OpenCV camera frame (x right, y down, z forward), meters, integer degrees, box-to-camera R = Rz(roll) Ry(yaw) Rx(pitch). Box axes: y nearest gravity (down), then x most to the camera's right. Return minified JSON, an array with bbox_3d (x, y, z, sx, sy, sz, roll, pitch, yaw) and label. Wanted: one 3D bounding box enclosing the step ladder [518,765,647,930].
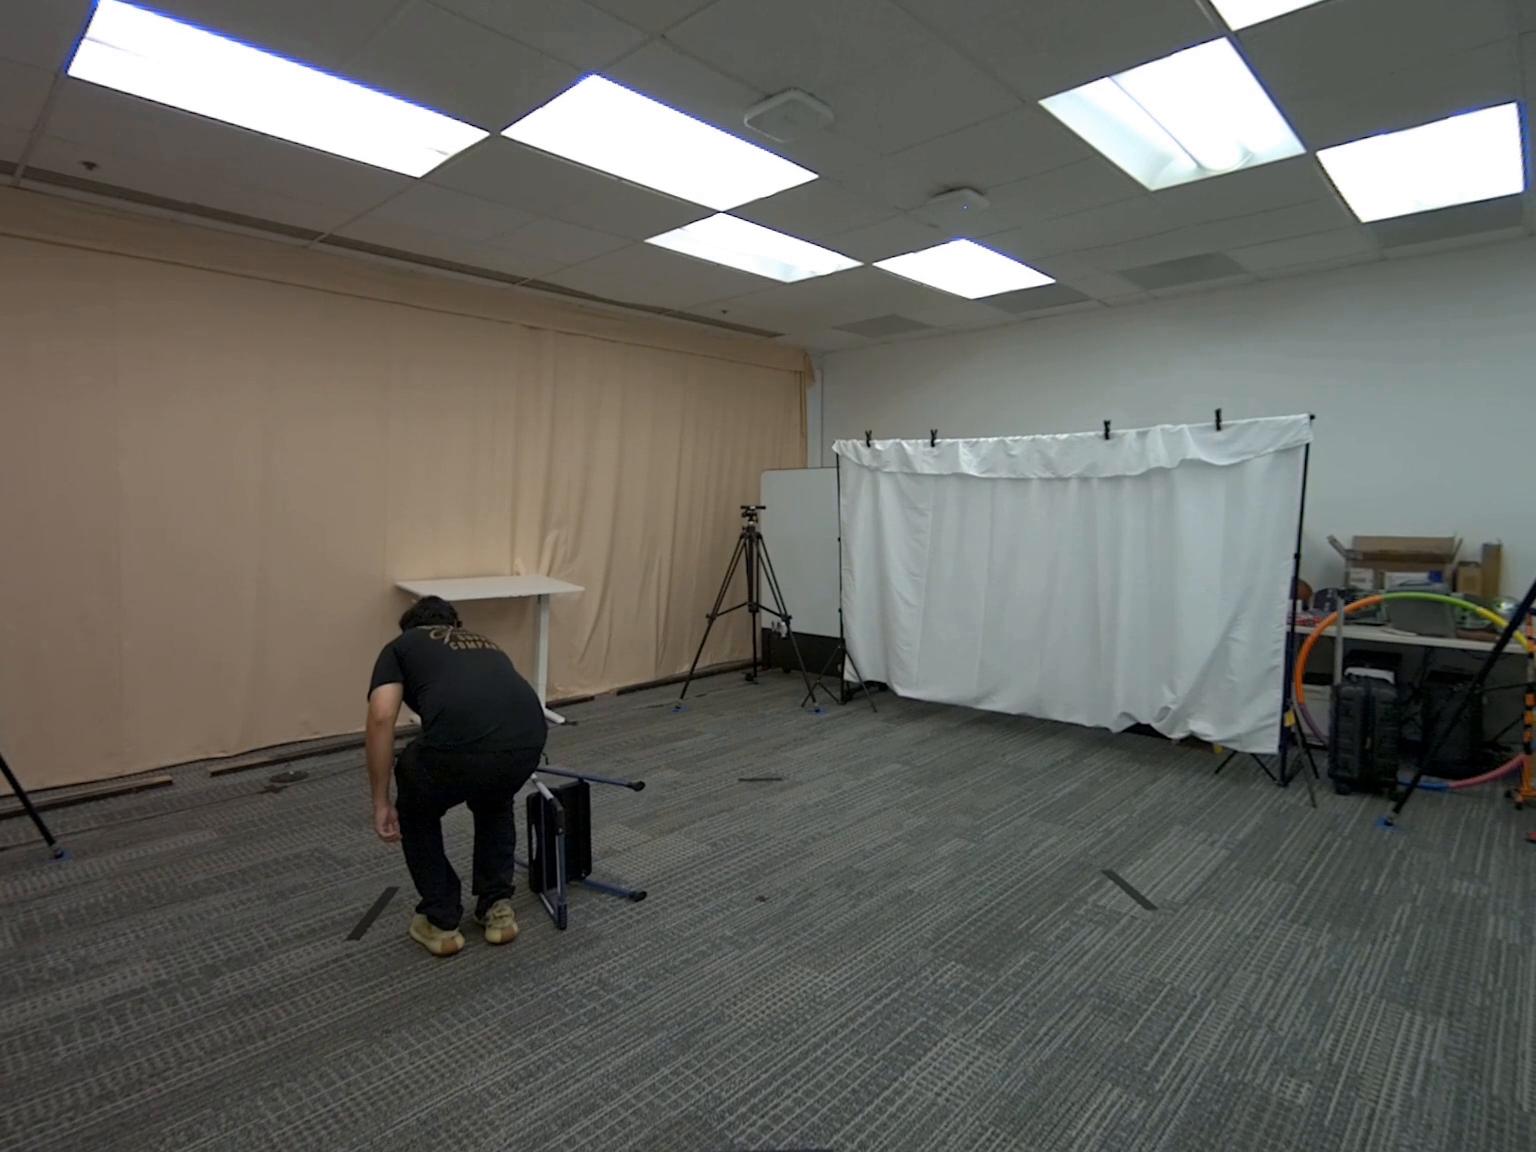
[{"bbox_3d":[-0.767,0.927,3.075,0.338,0.430,0.626,-3,5,-44],"label":"step ladder"}]
